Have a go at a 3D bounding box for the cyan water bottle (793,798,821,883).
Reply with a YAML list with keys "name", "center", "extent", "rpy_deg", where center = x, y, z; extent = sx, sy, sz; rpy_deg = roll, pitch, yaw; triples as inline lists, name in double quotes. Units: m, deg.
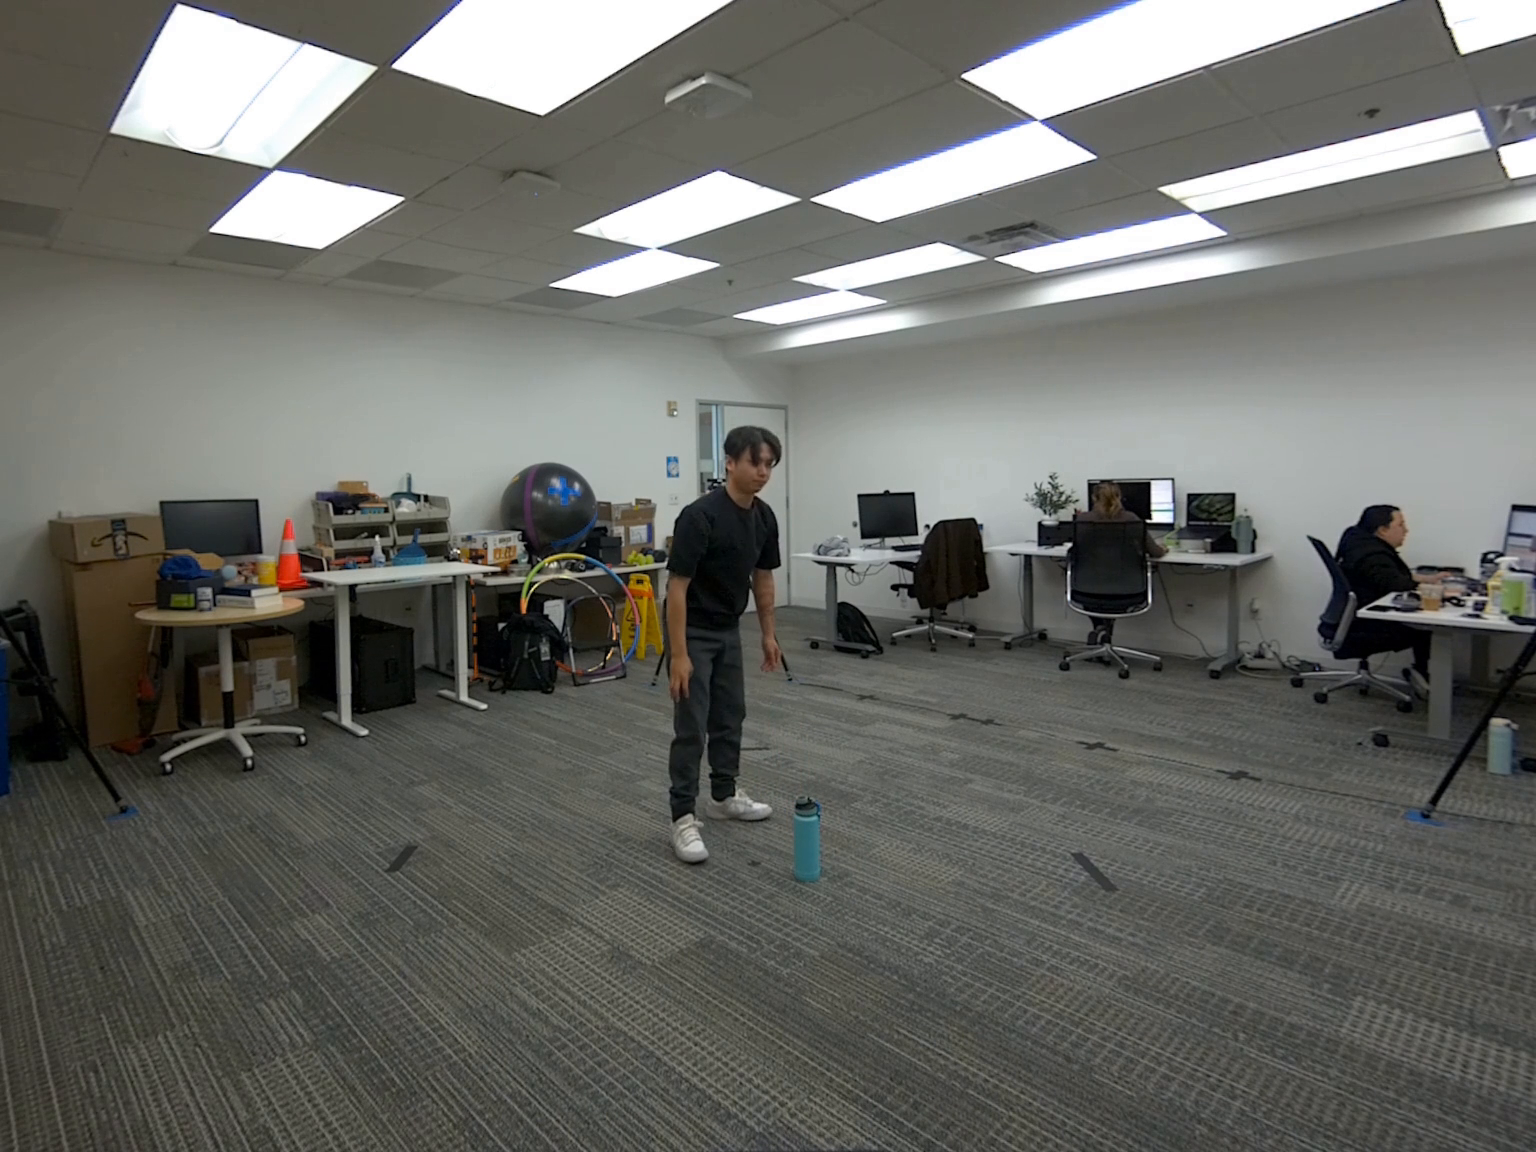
- name: "cyan water bottle"
  center: [0.141, 0.914, 2.988]
  extent: [0.092, 0.283, 0.093]
  rpy_deg: [0, 3, -2]
